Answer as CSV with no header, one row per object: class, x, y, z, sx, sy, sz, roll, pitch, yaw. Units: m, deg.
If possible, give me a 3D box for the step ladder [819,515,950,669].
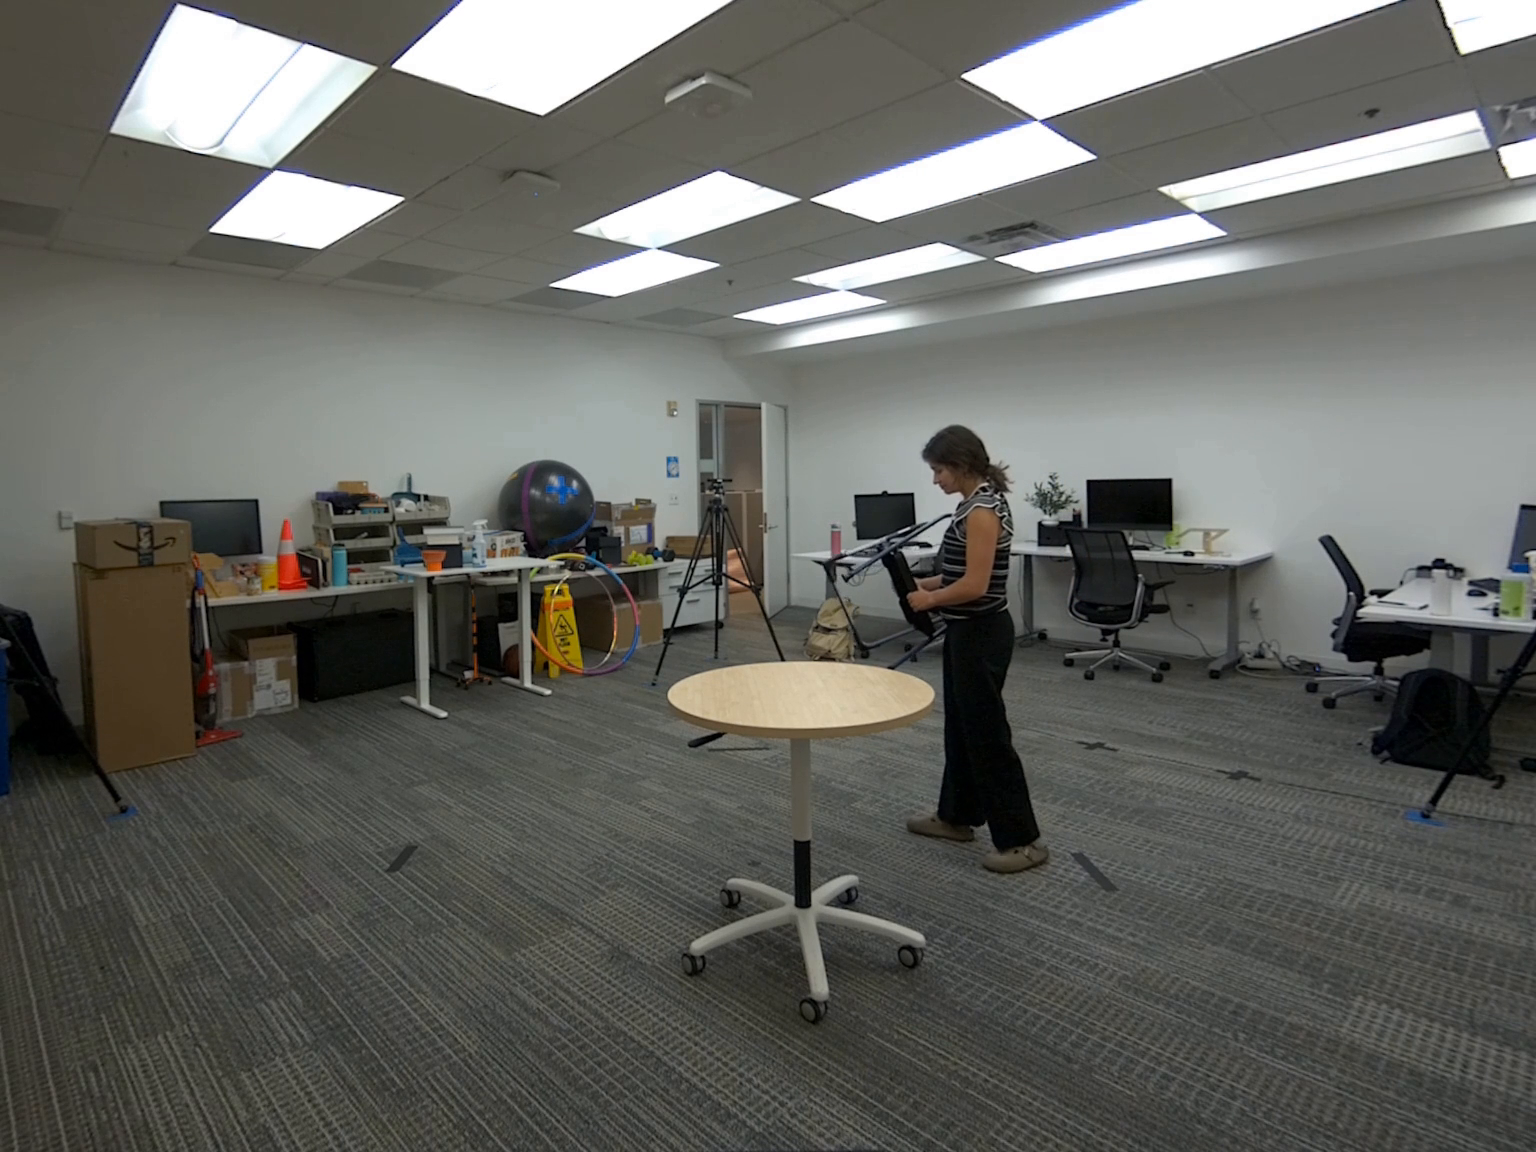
step ladder,0.599,0.030,3.327,0.604,0.425,0.355,-26,12,-6
